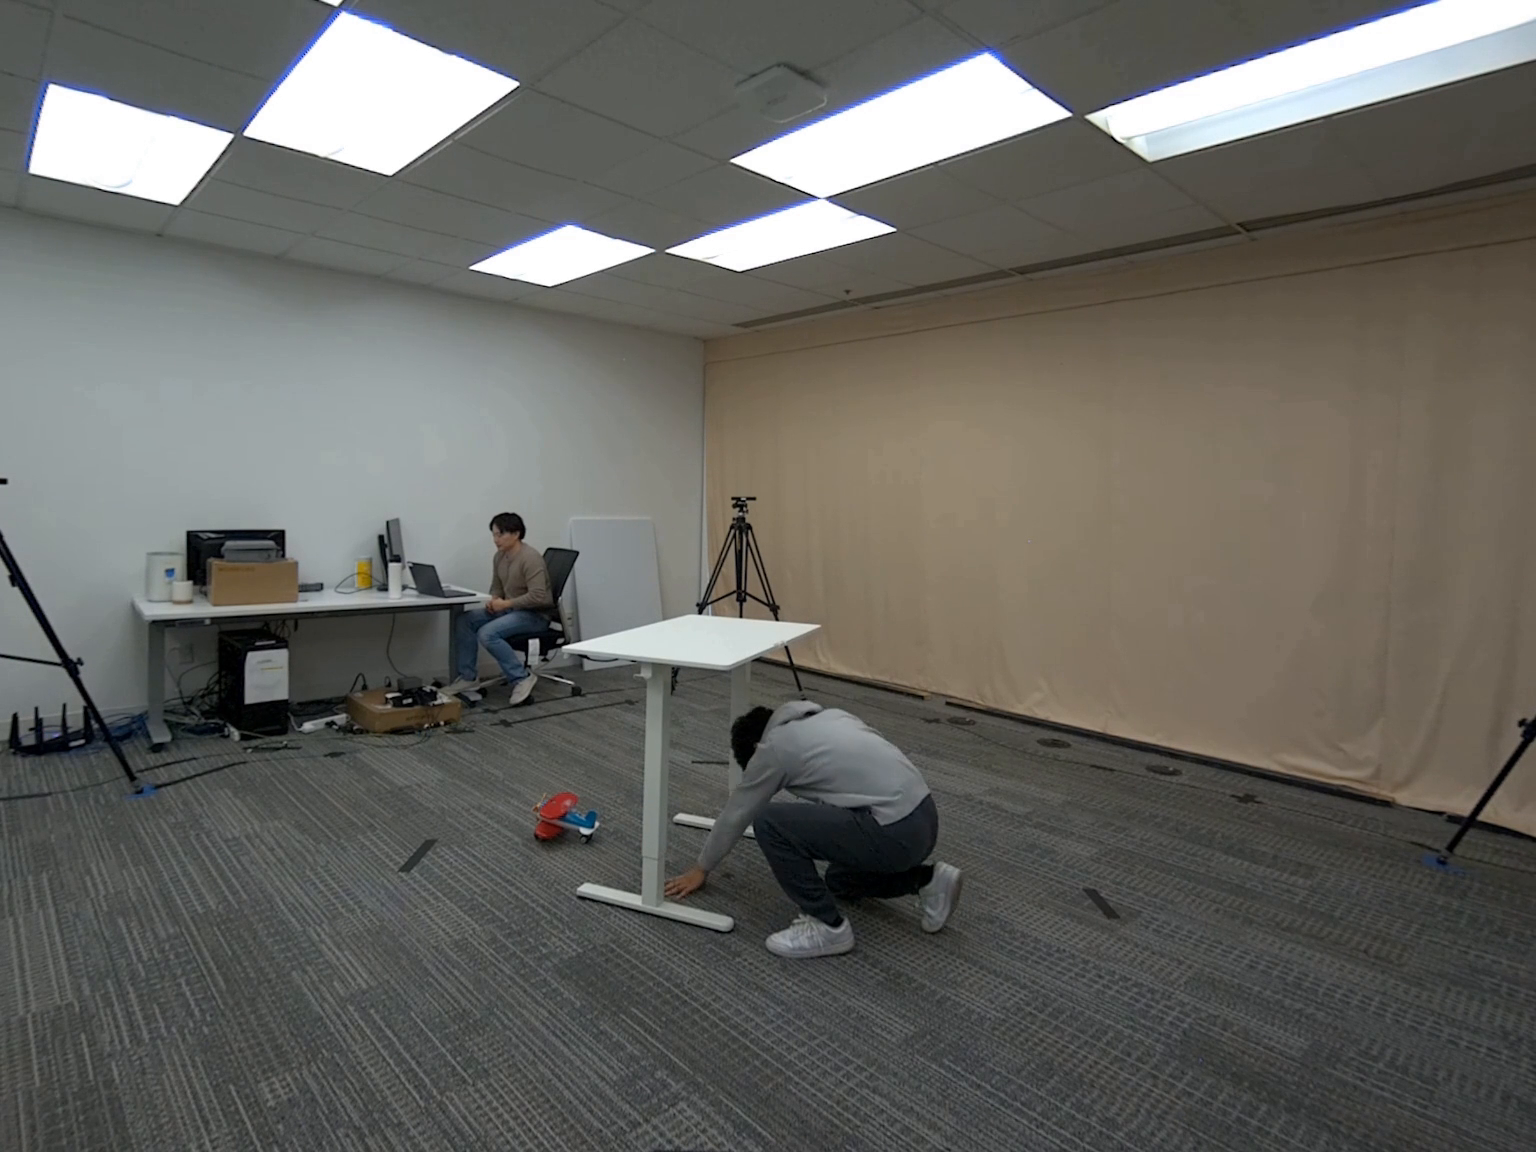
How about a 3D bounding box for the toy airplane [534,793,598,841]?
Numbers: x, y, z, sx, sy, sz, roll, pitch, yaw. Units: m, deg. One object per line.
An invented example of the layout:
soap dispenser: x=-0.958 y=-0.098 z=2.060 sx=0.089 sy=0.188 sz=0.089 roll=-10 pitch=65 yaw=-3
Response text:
toy airplane: x=-0.832 y=0.992 z=3.421 sx=0.256 sy=0.156 sz=0.255 roll=-1 pitch=5 yaw=-16
